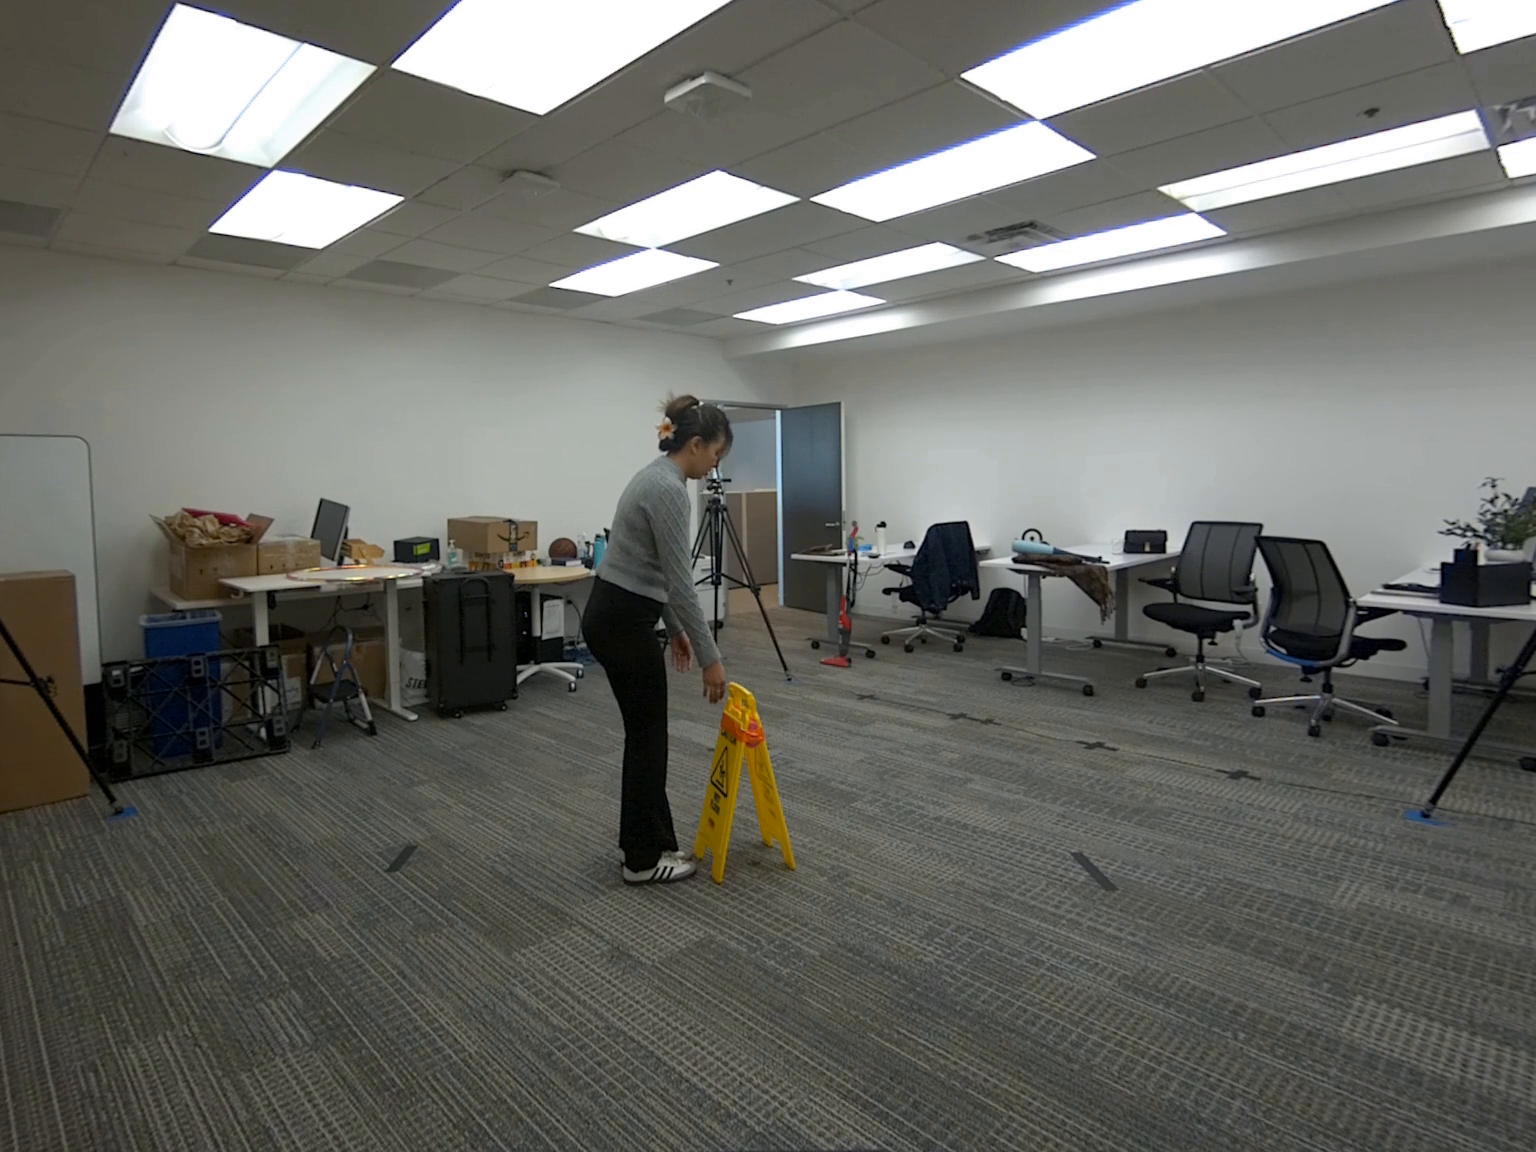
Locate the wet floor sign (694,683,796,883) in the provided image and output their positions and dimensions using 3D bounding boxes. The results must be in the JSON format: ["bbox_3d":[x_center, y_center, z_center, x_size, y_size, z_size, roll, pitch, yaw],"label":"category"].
[{"bbox_3d":[-0.091,0.718,3.108,0.284,0.643,0.289,-1,5,-21],"label":"wet floor sign"}]
